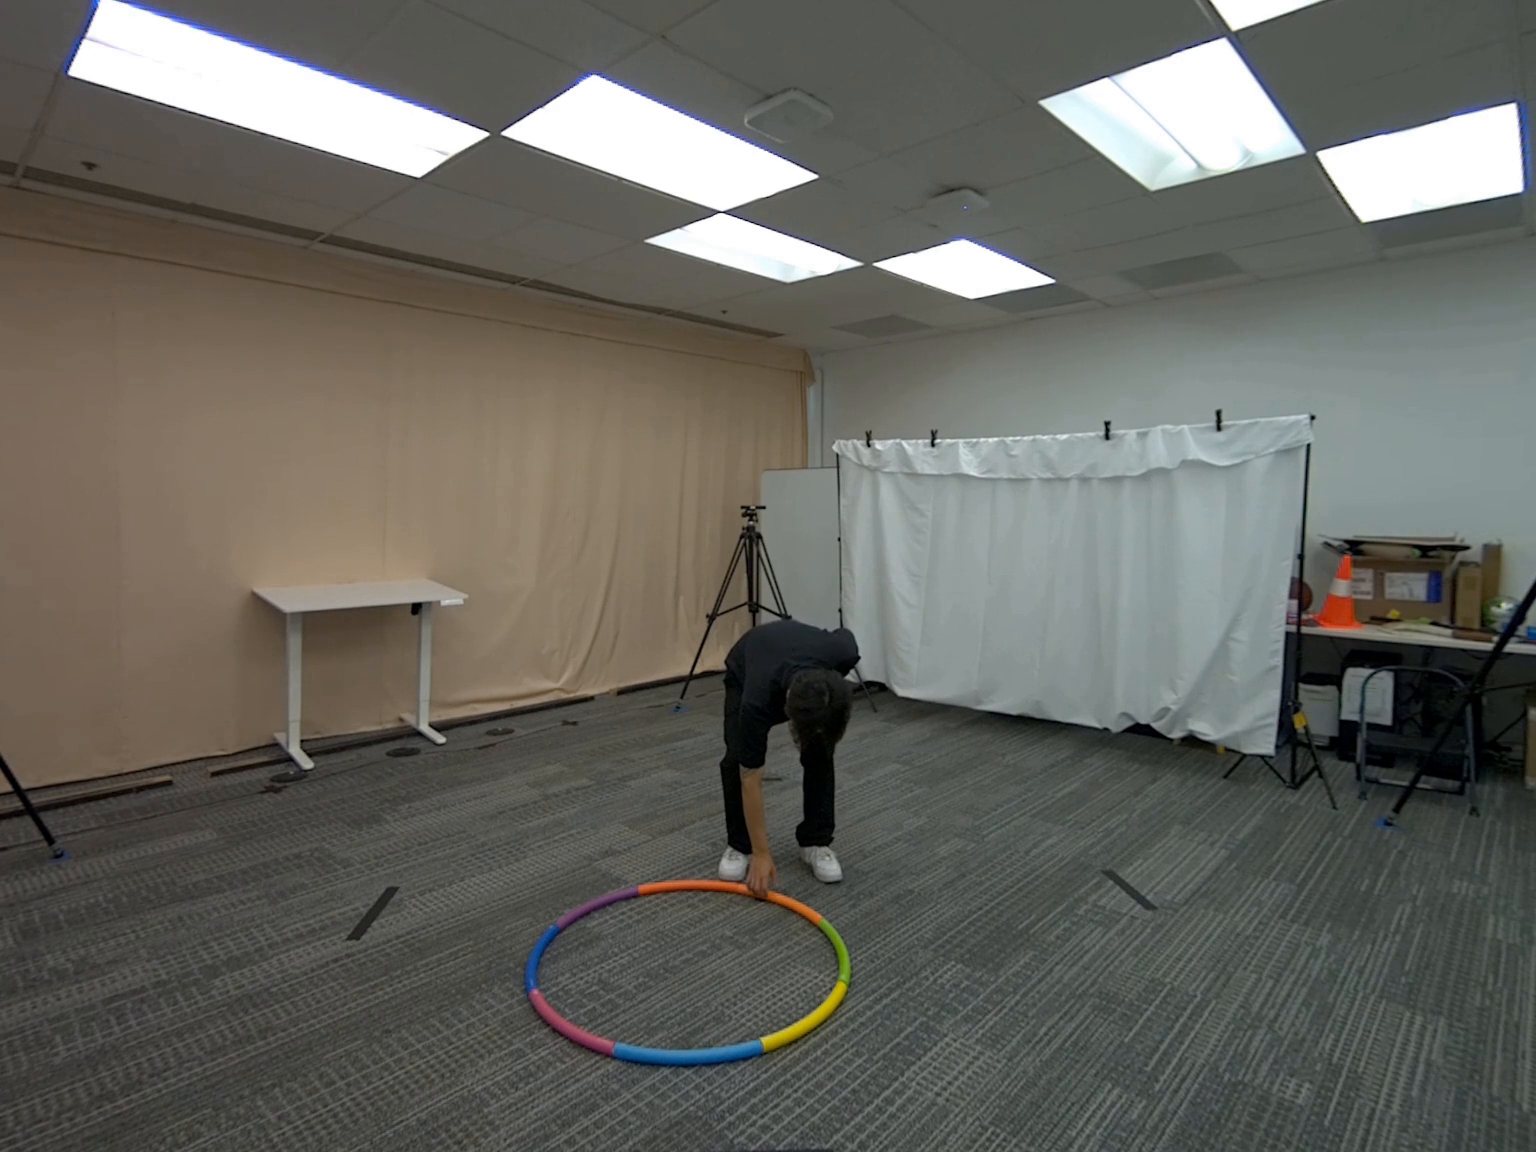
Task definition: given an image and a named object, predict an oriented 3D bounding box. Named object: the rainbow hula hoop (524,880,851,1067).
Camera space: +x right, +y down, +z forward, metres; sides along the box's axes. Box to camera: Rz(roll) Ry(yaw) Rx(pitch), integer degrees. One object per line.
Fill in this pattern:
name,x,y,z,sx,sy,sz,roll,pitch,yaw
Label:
rainbow hula hoop,-0.237,1.151,2.581,0.978,0.035,0.982,-1,4,-2
